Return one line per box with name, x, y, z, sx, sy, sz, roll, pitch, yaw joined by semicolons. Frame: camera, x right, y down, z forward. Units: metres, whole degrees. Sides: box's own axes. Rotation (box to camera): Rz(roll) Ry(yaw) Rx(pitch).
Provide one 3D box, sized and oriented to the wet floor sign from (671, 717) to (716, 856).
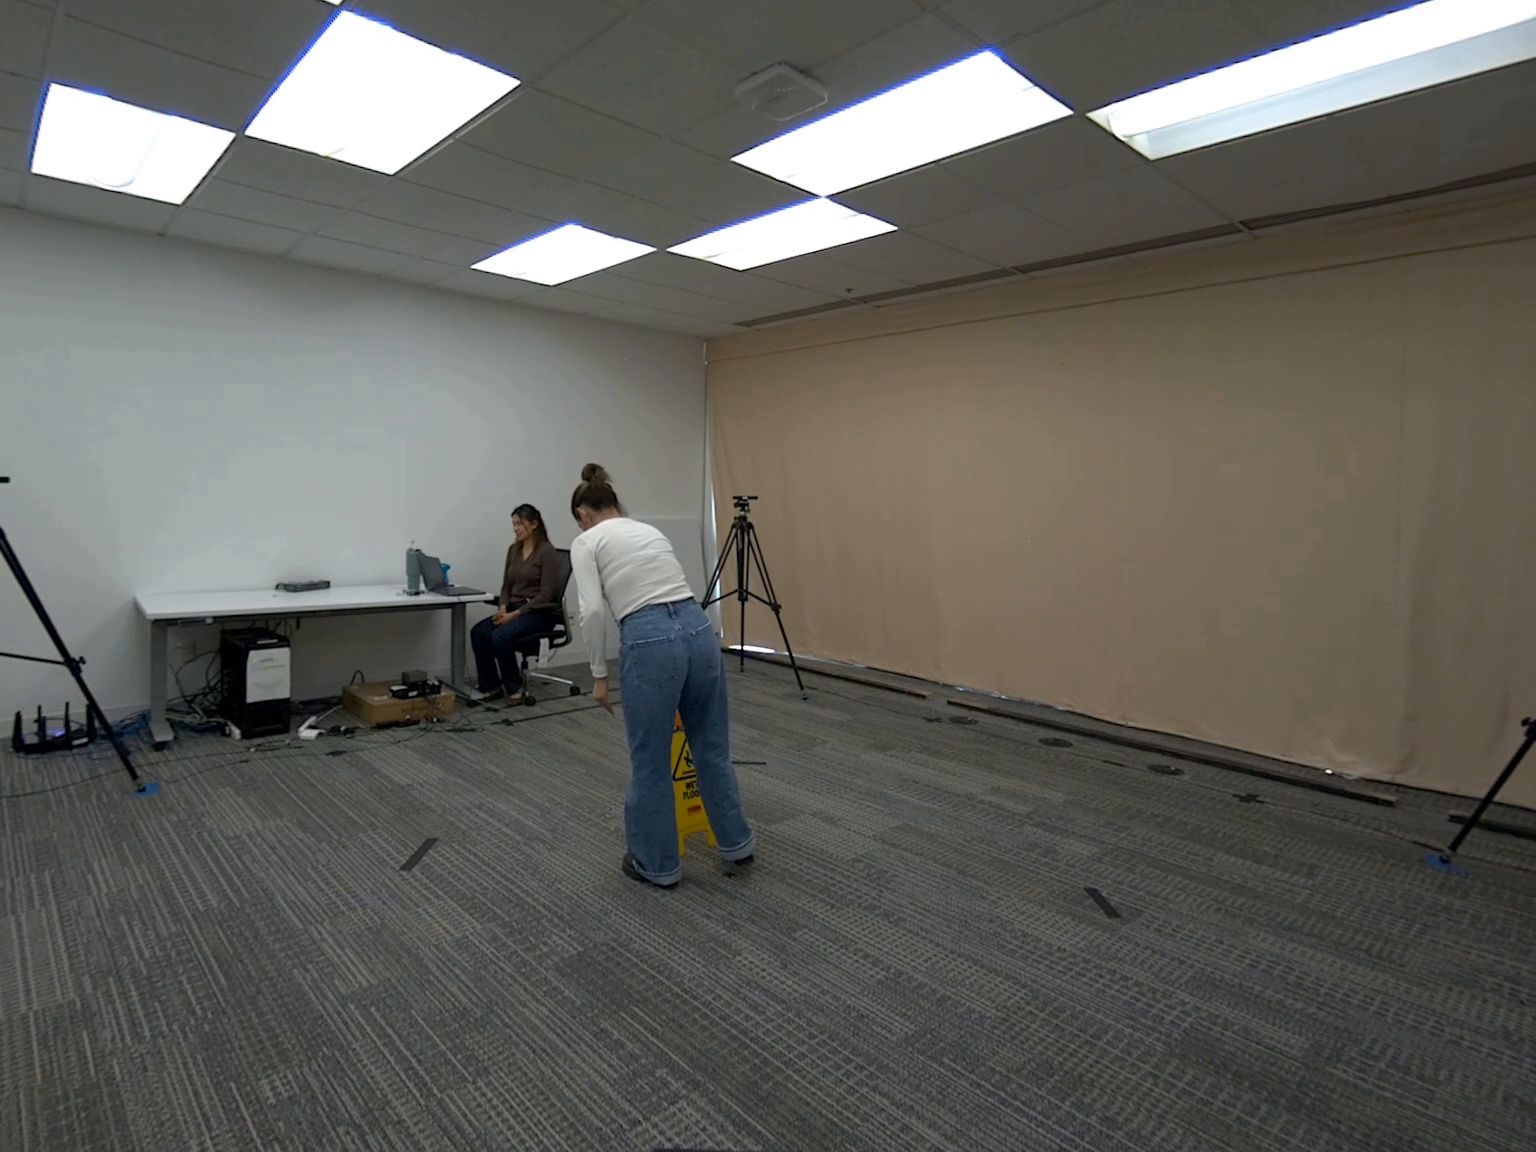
wet floor sign;-0.368;0.751;3.392;0.276;0.644;0.297;-2;5;-39
